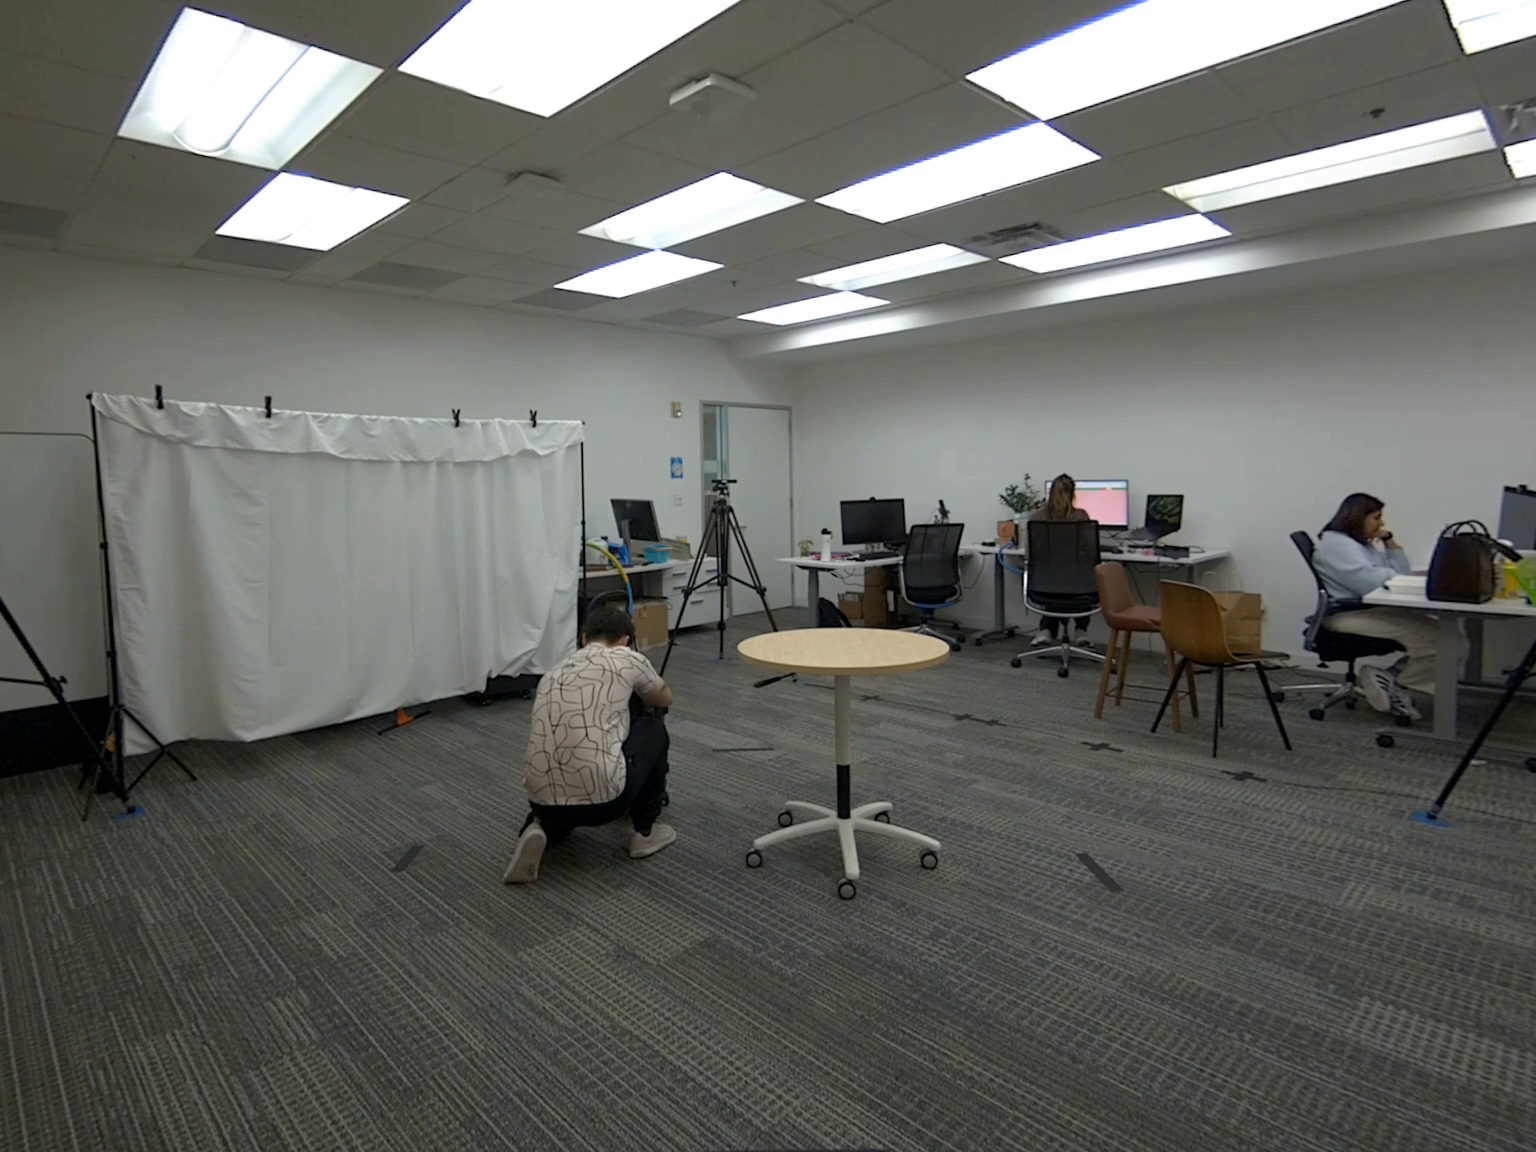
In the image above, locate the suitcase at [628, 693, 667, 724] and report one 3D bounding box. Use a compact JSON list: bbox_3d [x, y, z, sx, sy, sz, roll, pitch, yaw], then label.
[{"bbox_3d":[-0.632,0.724,3.659,0.382,0.549,0.244,-1,1,18],"label":"suitcase"}]
